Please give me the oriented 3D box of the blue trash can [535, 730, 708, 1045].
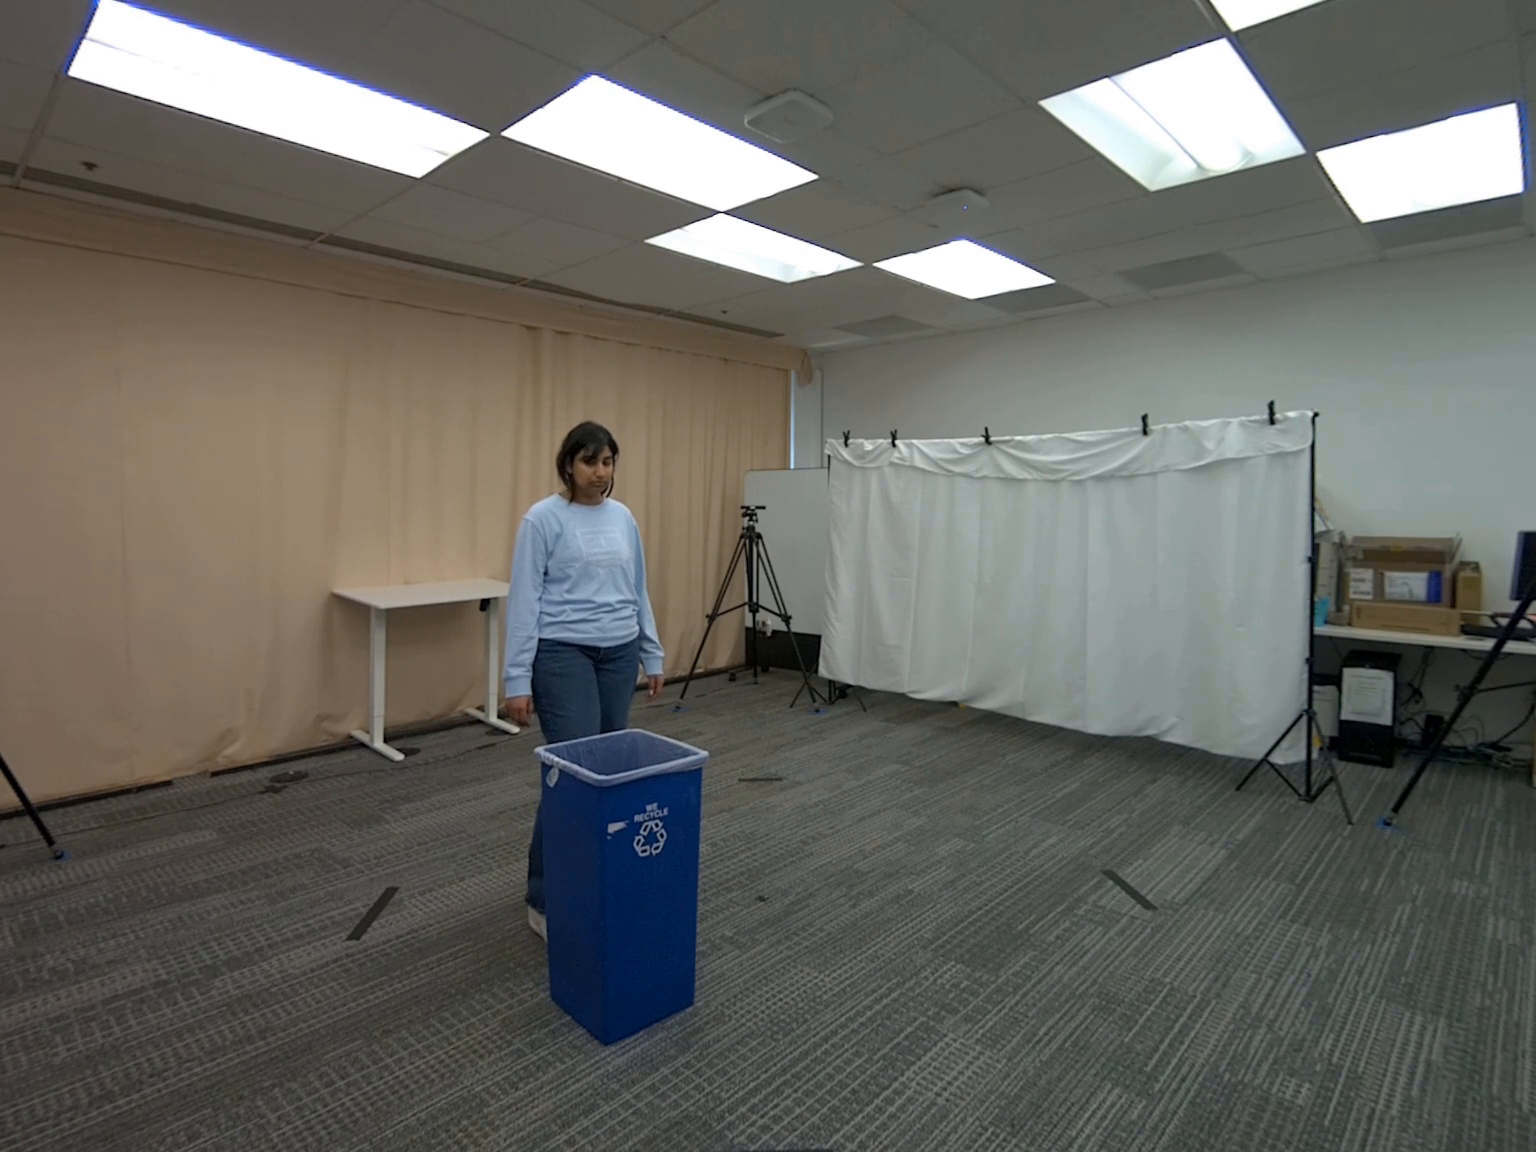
[{"bbox_3d":[-0.399,0.844,2.355,0.366,0.712,0.386,-2,3,-43],"label":"blue trash can"}]
